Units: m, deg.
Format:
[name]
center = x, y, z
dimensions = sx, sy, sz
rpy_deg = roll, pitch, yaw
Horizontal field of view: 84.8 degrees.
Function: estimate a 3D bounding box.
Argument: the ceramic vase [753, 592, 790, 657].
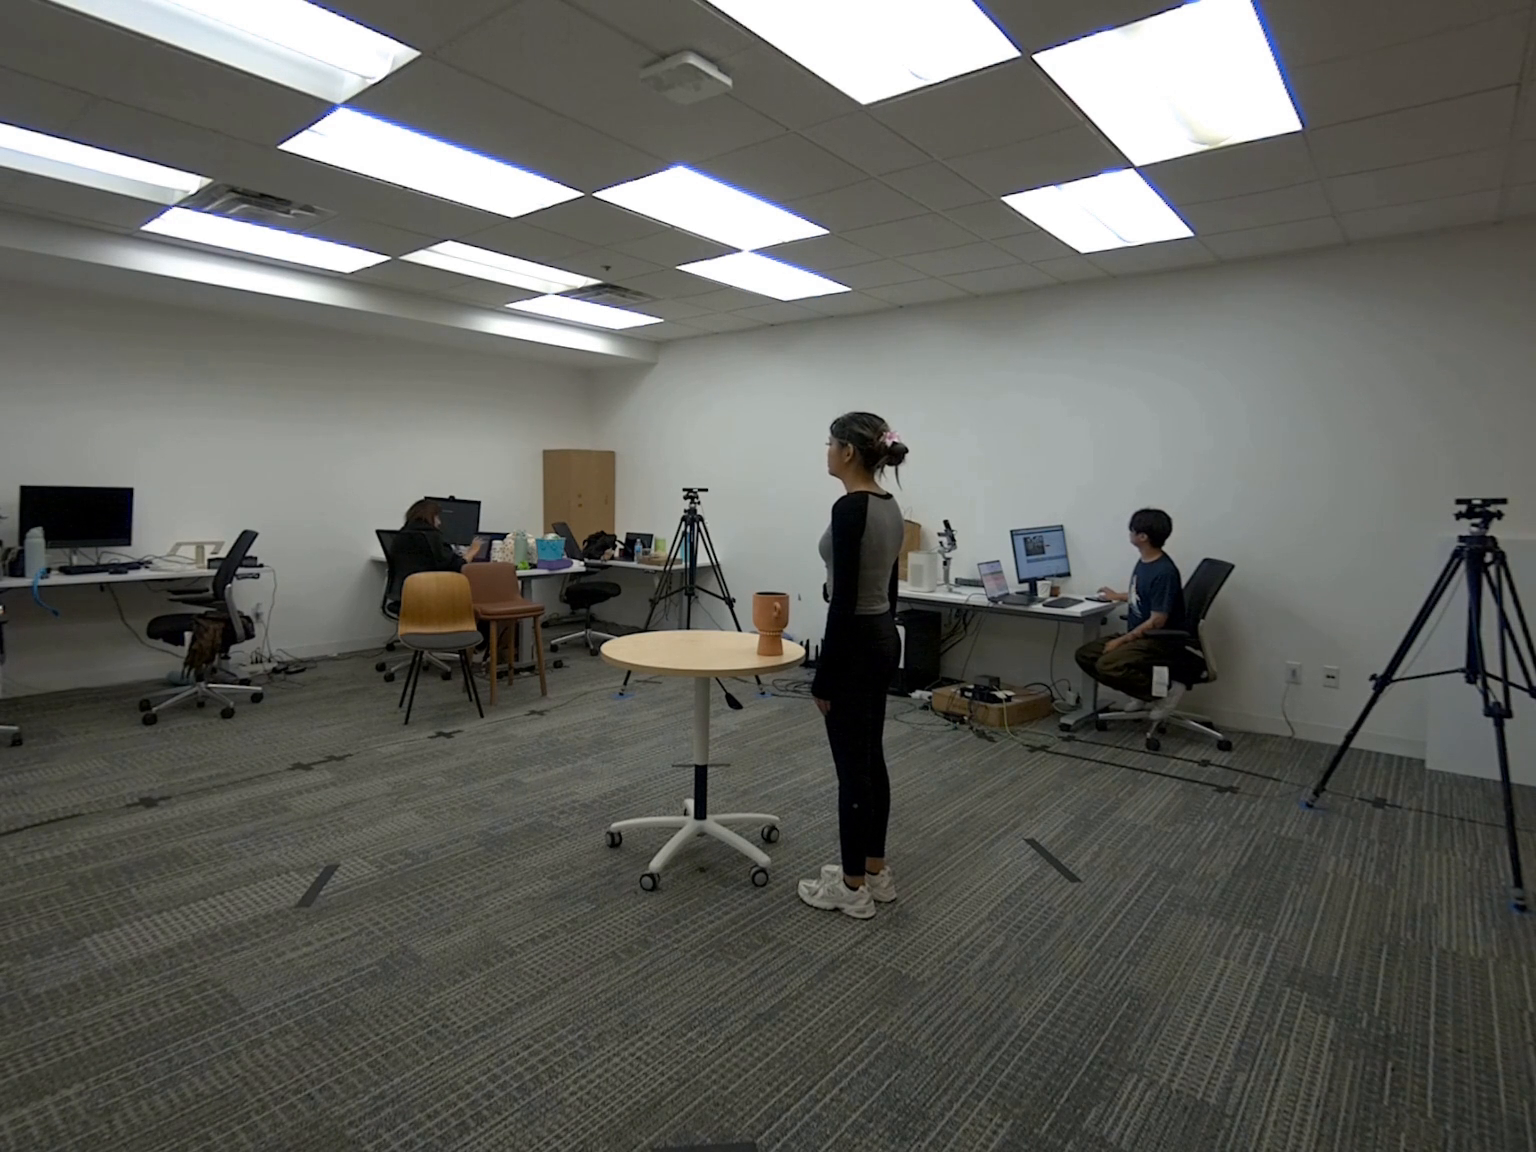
[ceramic vase]
center = 0.000, 0.172, 3.107
dimensions = 0.138, 0.219, 0.155
rpy_deg = 2, 3, 23
